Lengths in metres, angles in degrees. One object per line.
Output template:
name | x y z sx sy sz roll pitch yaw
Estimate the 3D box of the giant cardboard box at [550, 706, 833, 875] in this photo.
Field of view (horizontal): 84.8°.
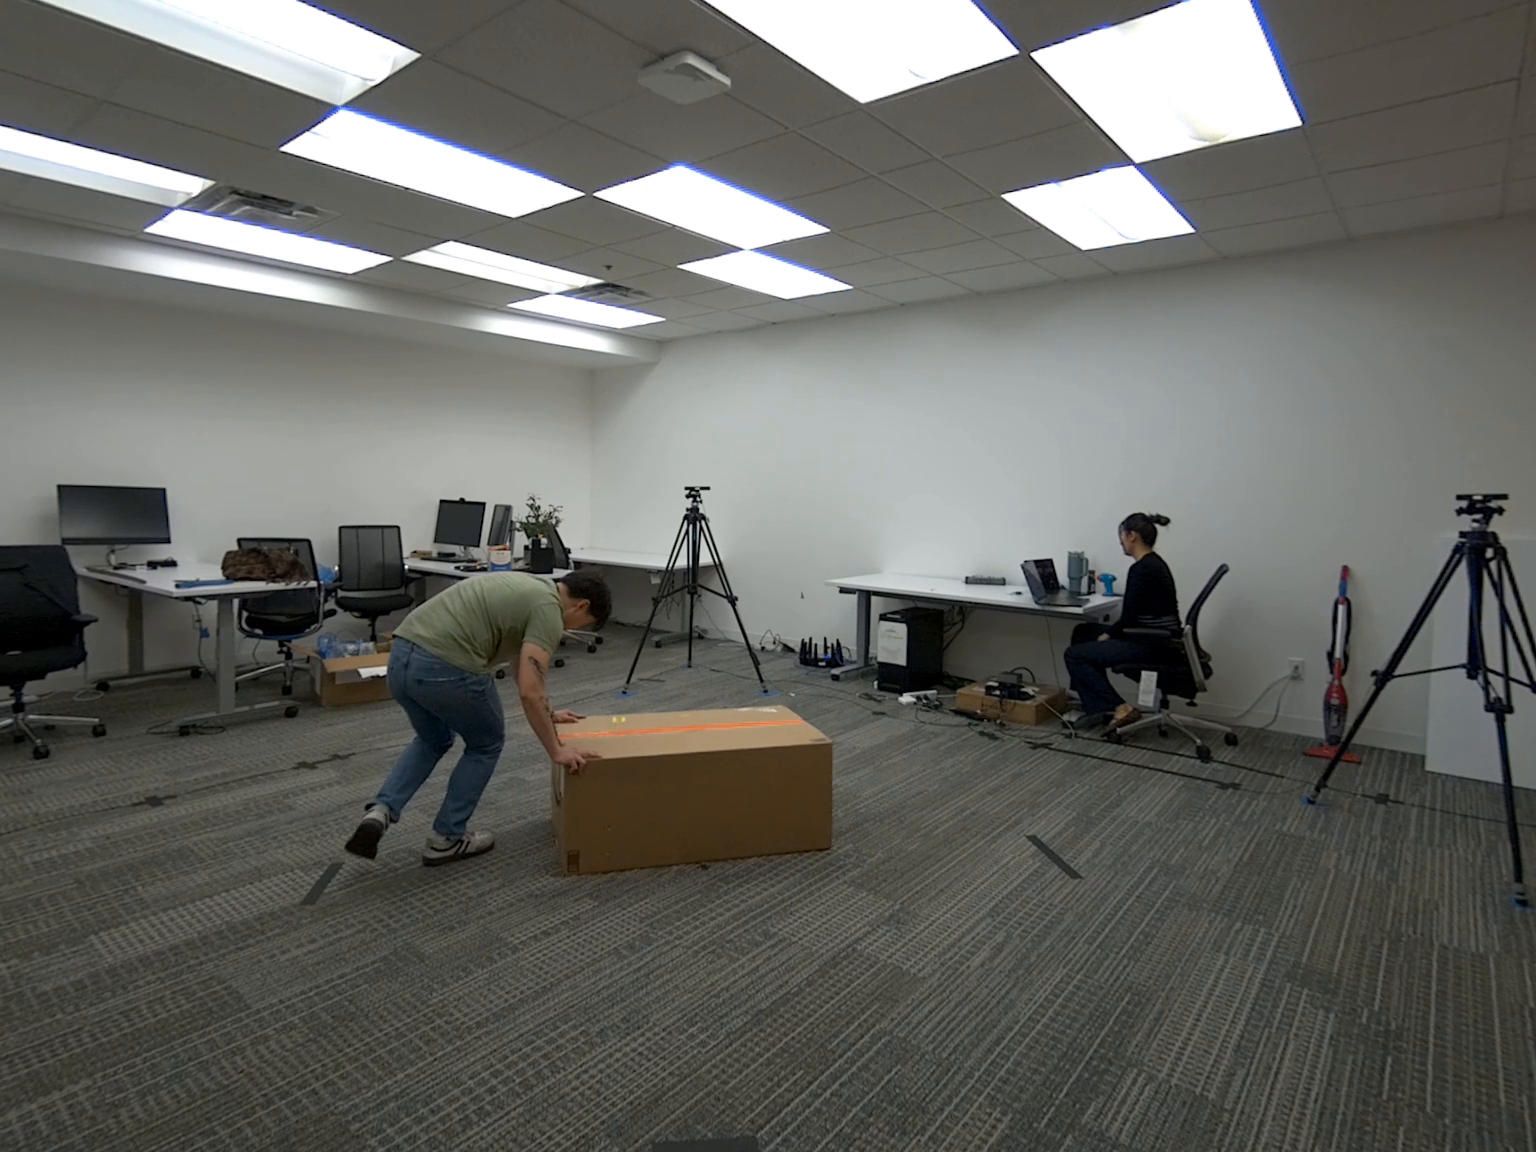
giant cardboard box | -0.332 0.822 3.409 1.009 0.425 0.589 -1 4 -16
